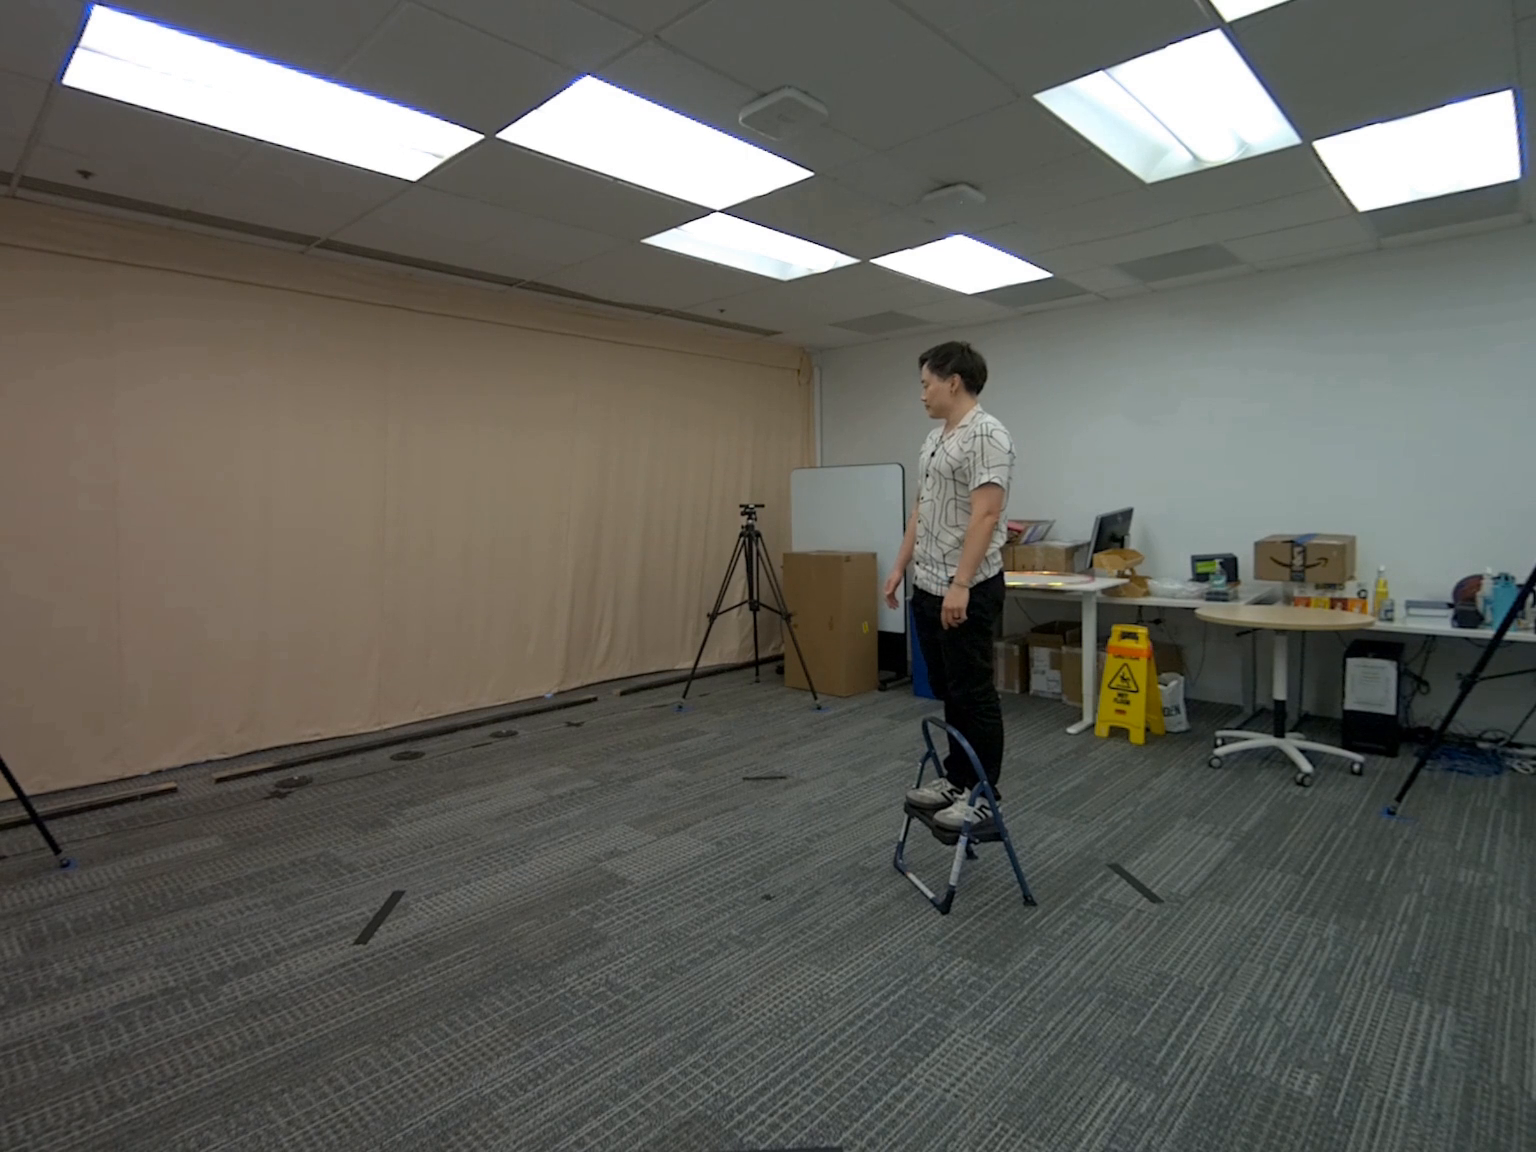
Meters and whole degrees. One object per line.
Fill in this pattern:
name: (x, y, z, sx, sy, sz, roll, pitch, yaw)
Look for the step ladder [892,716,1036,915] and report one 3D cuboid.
step ladder: (0.699, 0.821, 3.046, 0.344, 0.605, 0.438, -1, 4, -14)
